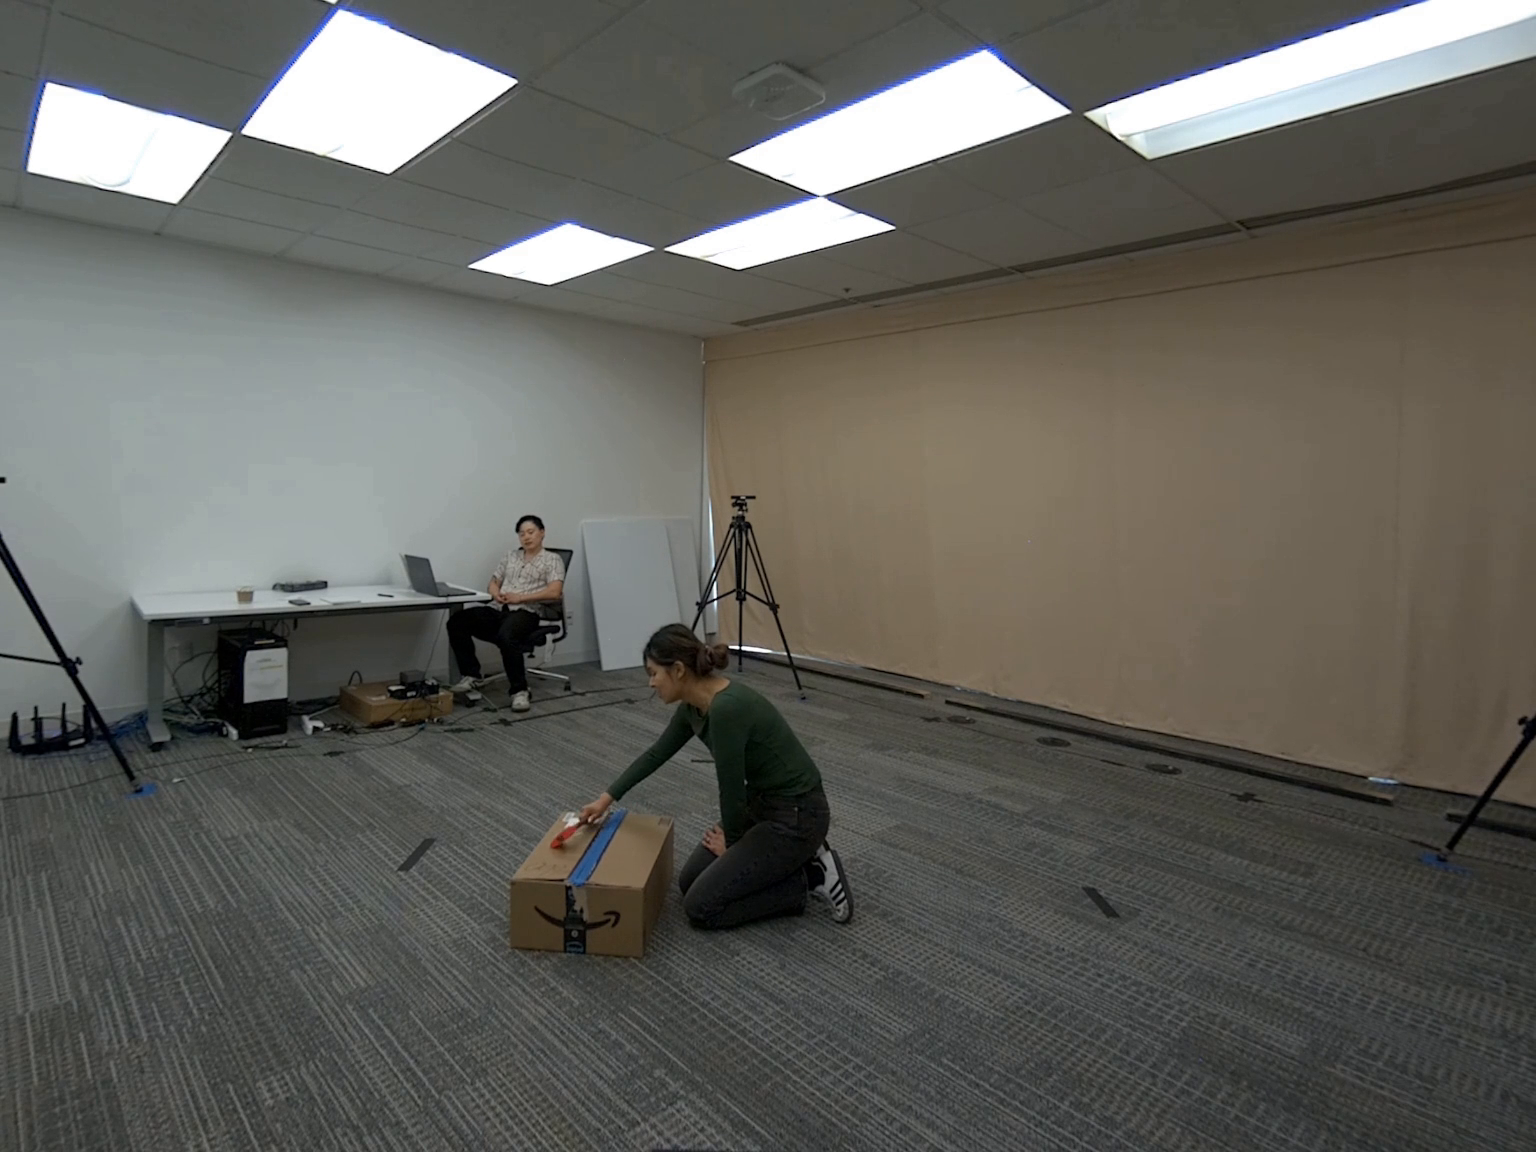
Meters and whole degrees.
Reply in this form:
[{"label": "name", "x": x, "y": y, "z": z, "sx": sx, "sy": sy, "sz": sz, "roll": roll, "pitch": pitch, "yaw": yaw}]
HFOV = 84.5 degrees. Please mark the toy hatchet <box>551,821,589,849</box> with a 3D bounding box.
[{"label": "toy hatchet", "x": -0.667, "y": 0.868, "z": 2.882, "sx": 0.131, "sy": 0.030, "sz": 0.267, "roll": -41, "pitch": -10, "yaw": -1}]
